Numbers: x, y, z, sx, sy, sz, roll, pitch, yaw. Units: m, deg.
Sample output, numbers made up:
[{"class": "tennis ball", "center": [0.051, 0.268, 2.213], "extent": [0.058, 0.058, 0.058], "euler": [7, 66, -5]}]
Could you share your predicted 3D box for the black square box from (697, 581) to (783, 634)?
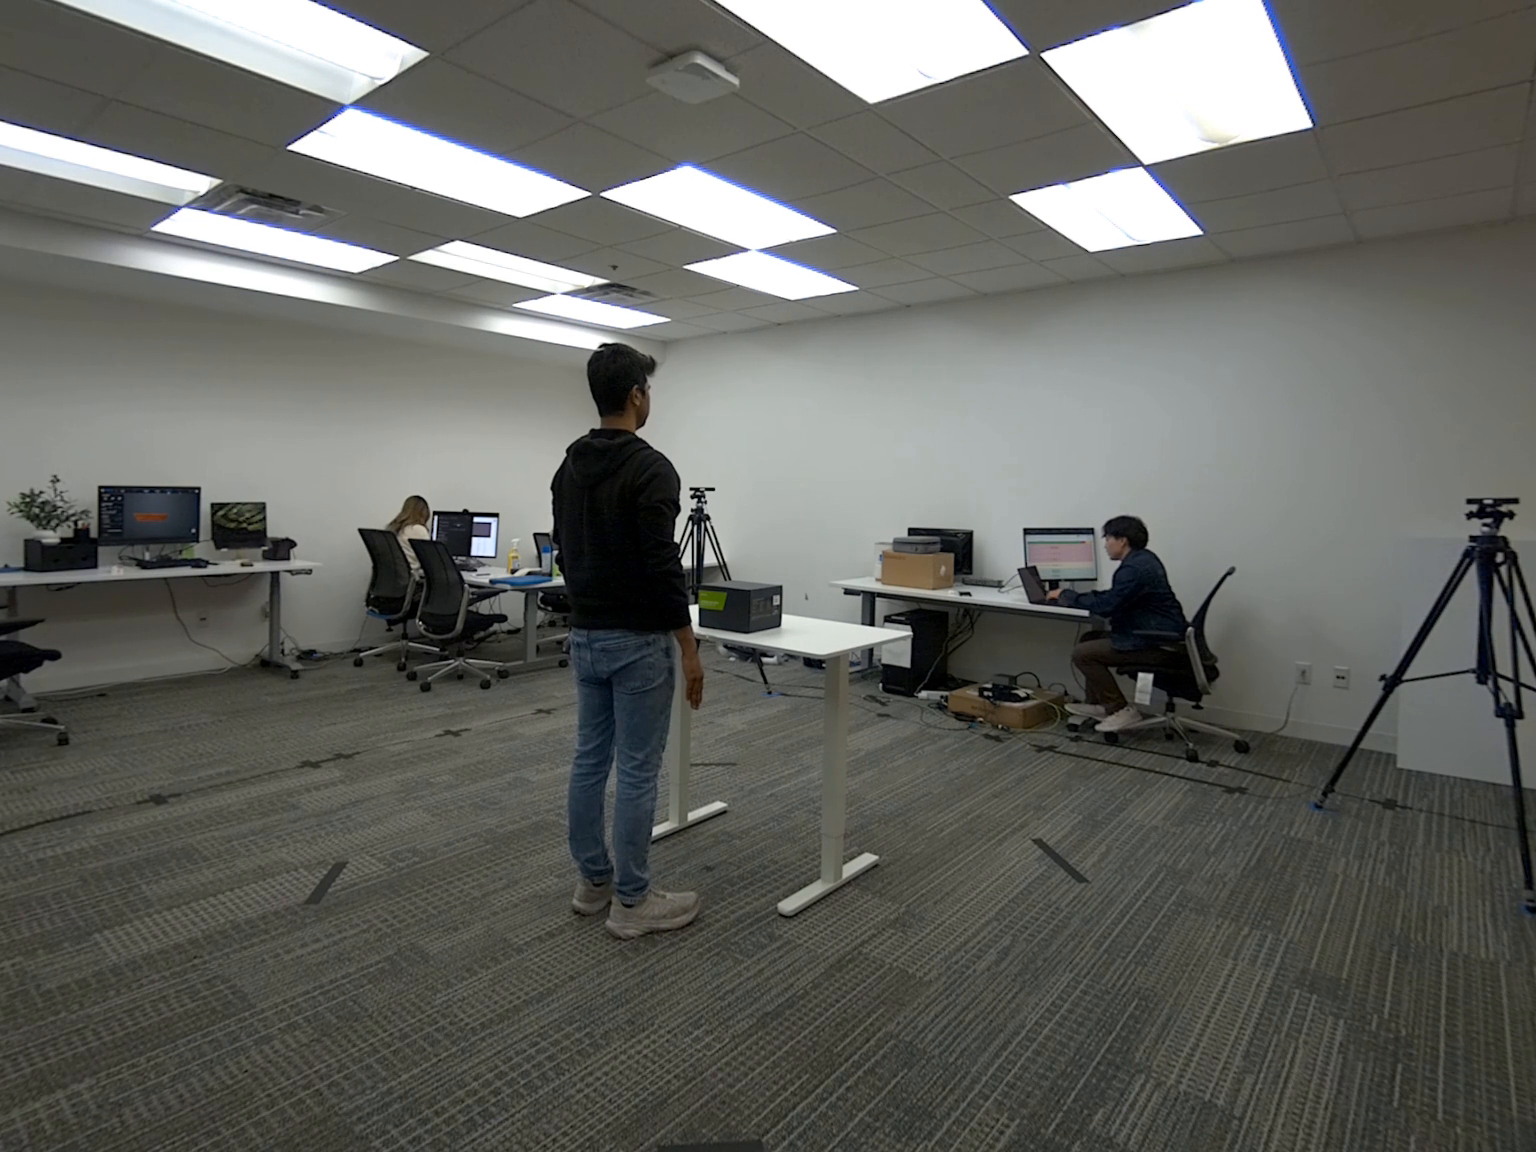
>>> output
[{"class": "black square box", "center": [-0.109, 0.105, 3.120], "extent": [0.235, 0.155, 0.211], "euler": [5, 6, 35]}]
